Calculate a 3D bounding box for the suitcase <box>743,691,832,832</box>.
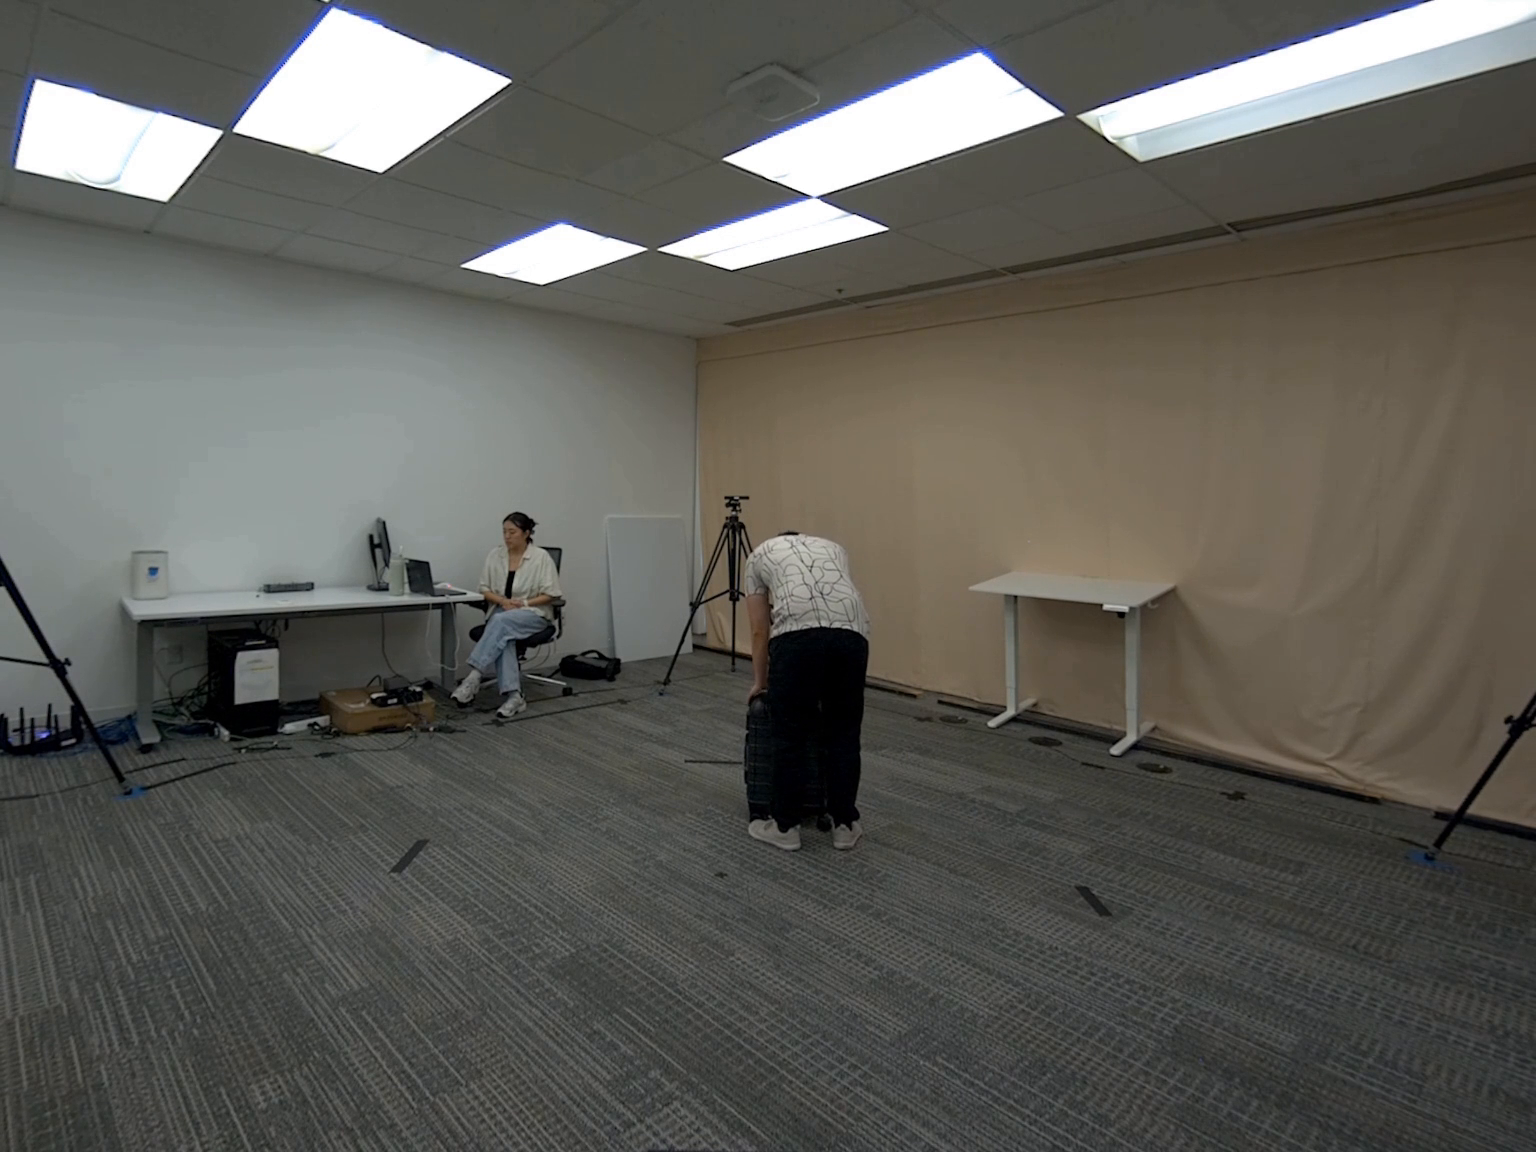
[{"bbox_3d":[0.083,0.788,3.682,0.377,0.549,0.247,1,1,6],"label":"suitcase"}]
